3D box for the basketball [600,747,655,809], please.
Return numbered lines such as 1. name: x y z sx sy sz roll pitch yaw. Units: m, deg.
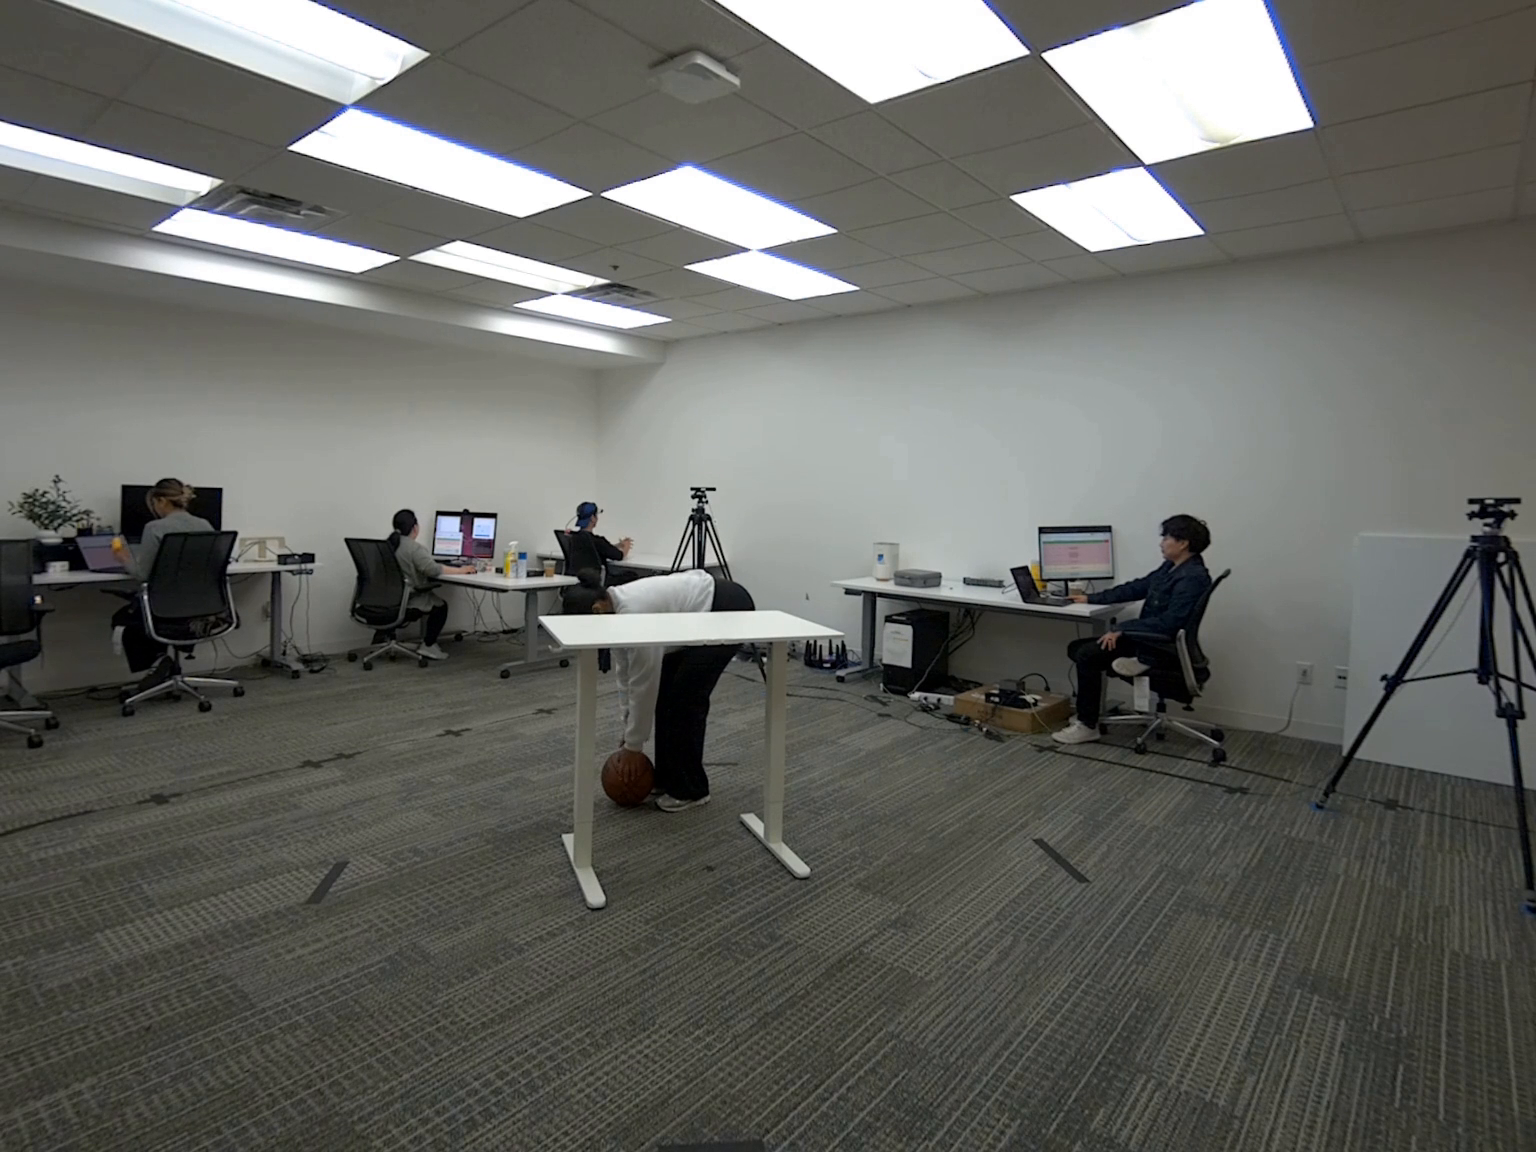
1. basketball: -0.628 0.874 3.742 0.235 0.235 0.237 1 4 -2
